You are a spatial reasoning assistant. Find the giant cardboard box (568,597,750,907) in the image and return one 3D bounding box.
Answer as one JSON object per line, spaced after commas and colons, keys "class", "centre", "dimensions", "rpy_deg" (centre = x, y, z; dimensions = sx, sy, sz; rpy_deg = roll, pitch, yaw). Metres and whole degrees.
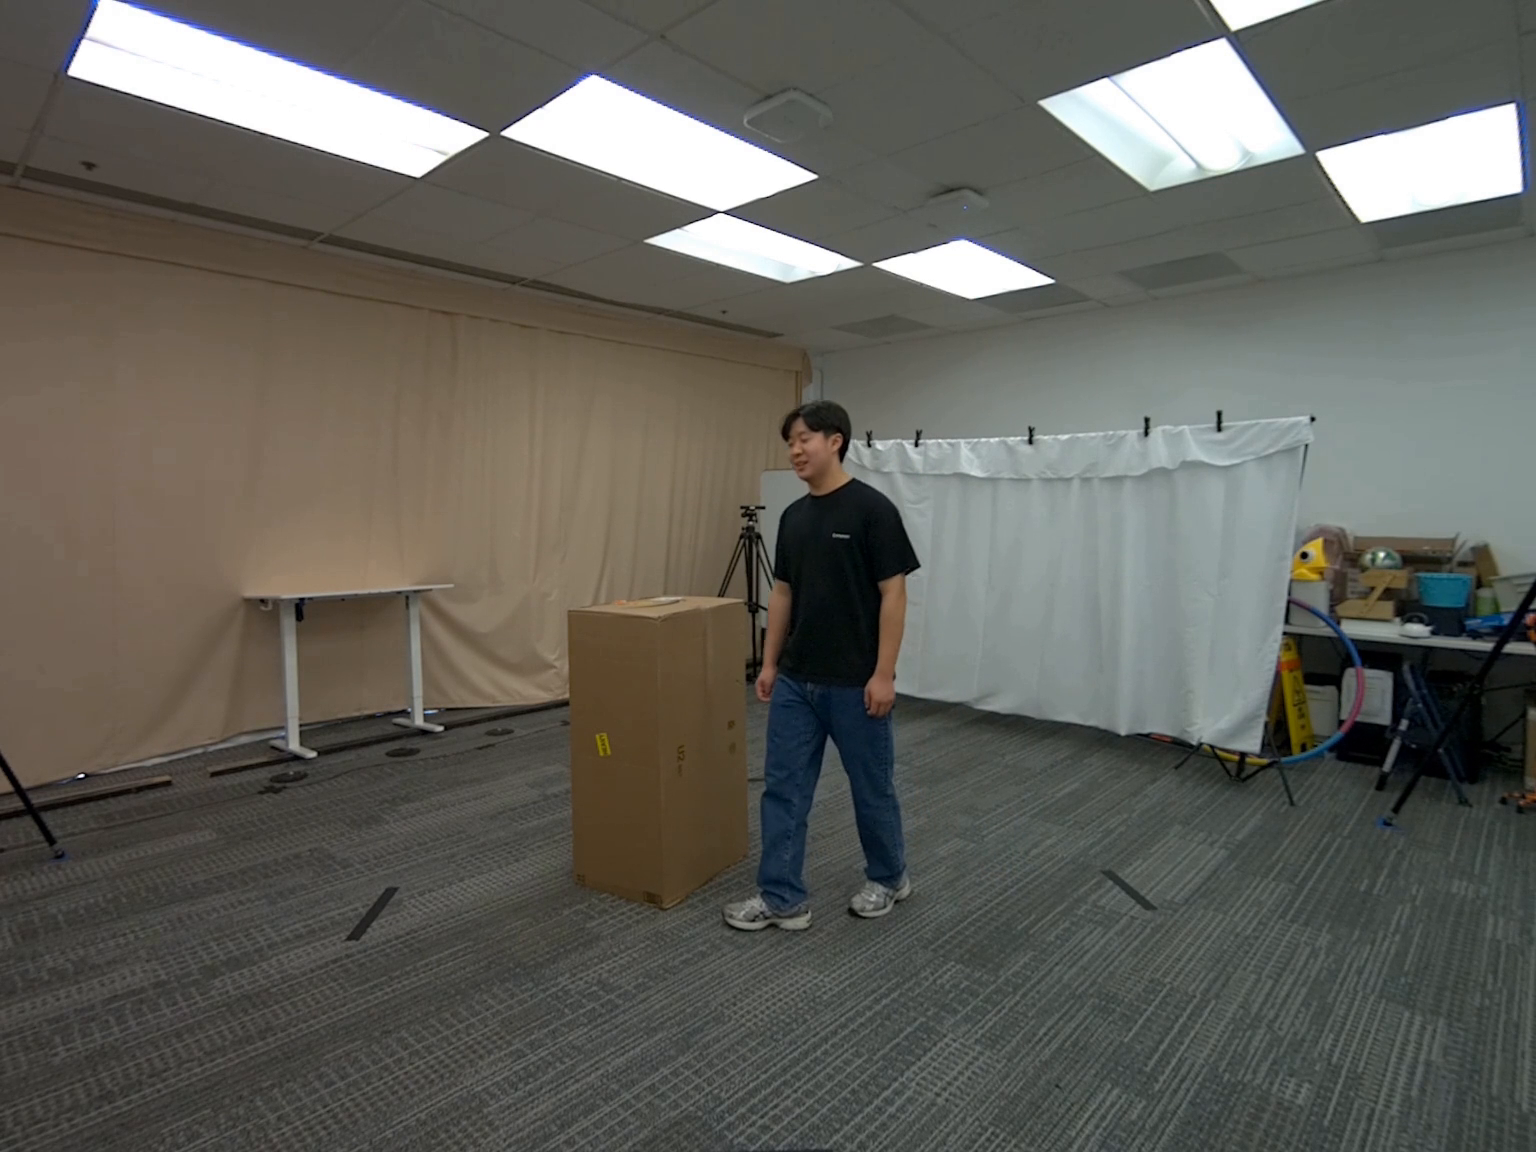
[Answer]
{"class": "giant cardboard box", "centre": [-0.408, 0.614, 3.231], "dimensions": [0.460, 1.025, 0.568], "rpy_deg": [1, 3, 33]}
